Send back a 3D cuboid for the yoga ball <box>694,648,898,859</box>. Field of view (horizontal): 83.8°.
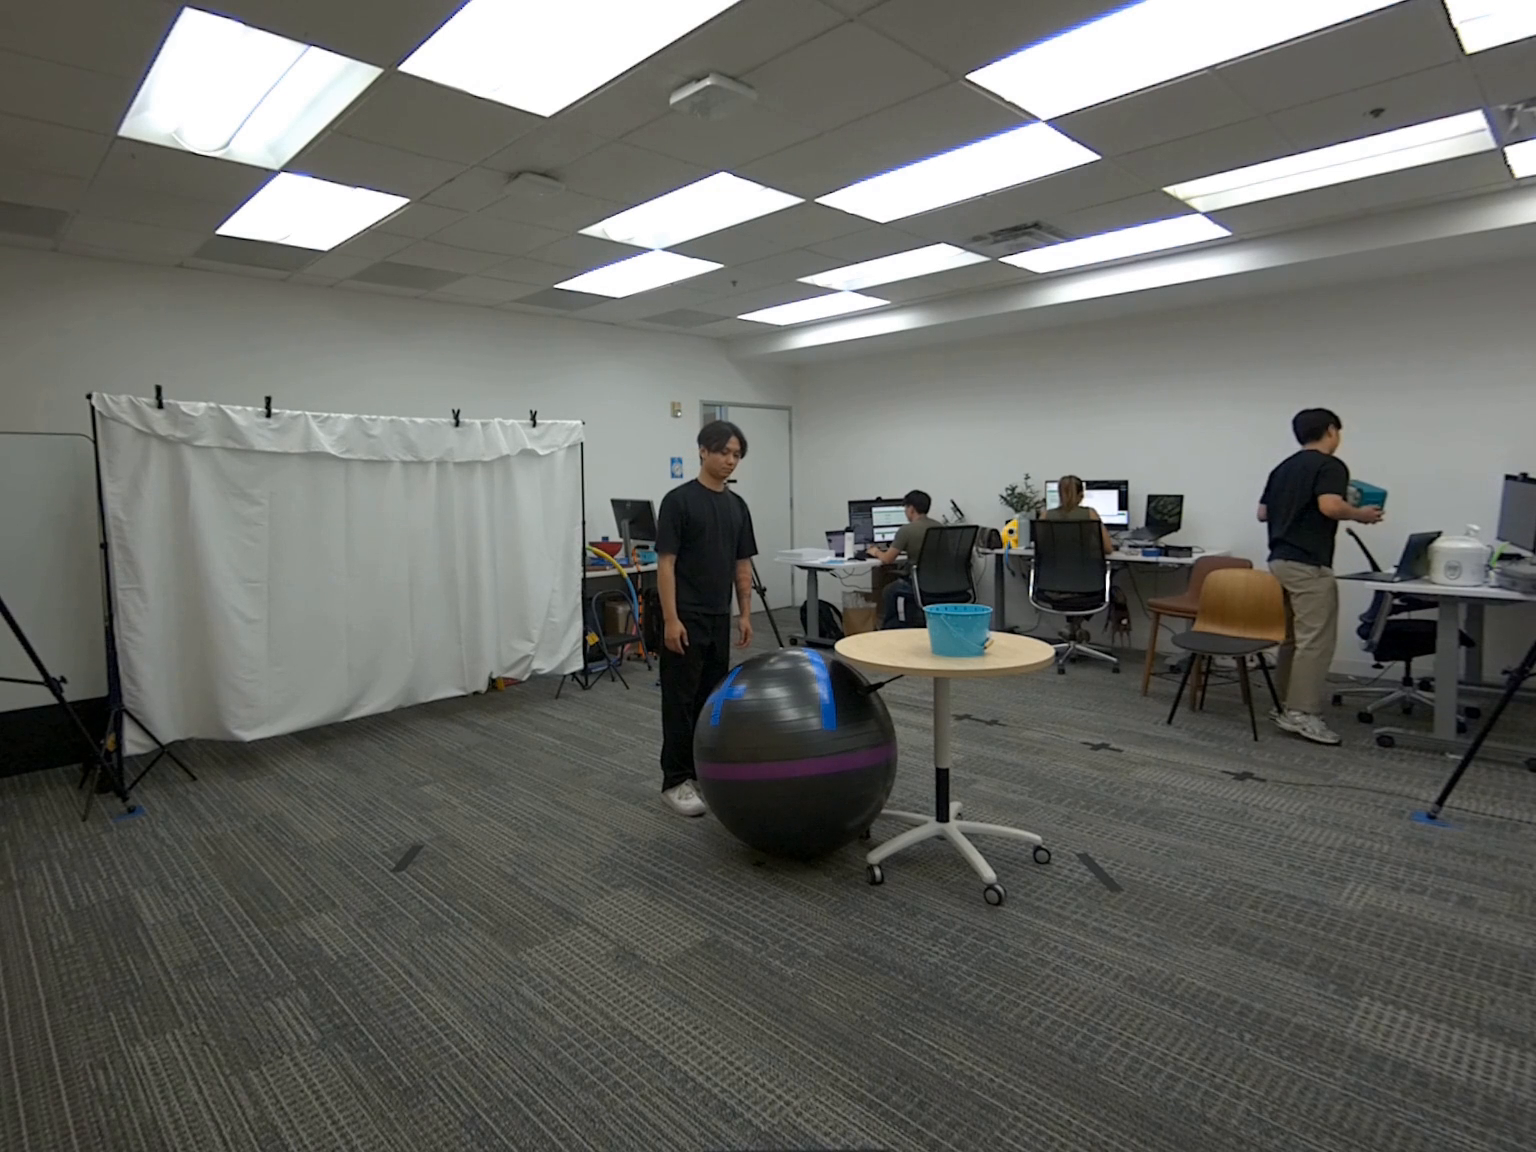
[{"bbox_3d":[0.098,0.660,3.218,0.757,0.755,0.762,-1,5,-2],"label":"yoga ball"}]
